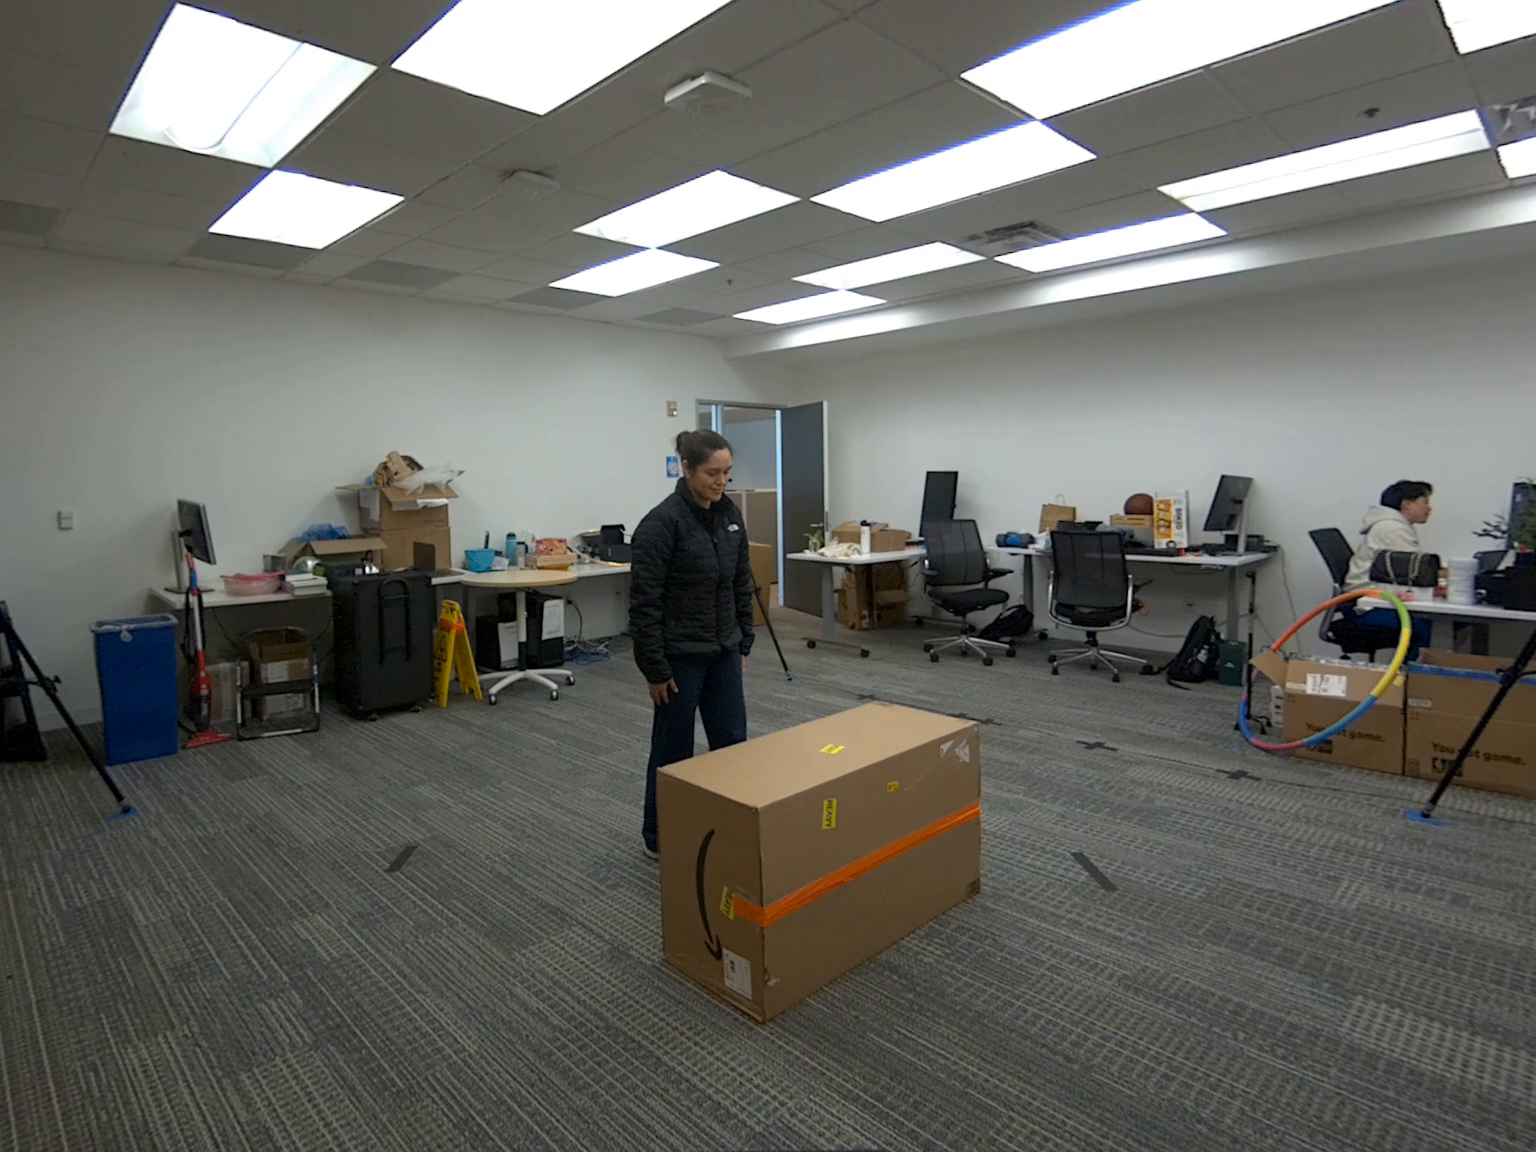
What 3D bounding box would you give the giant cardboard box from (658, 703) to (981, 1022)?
[{"bbox_3d":[0.196,0.807,2.665,1.001,0.581,0.461,-7,8,-44],"label":"giant cardboard box"}]
